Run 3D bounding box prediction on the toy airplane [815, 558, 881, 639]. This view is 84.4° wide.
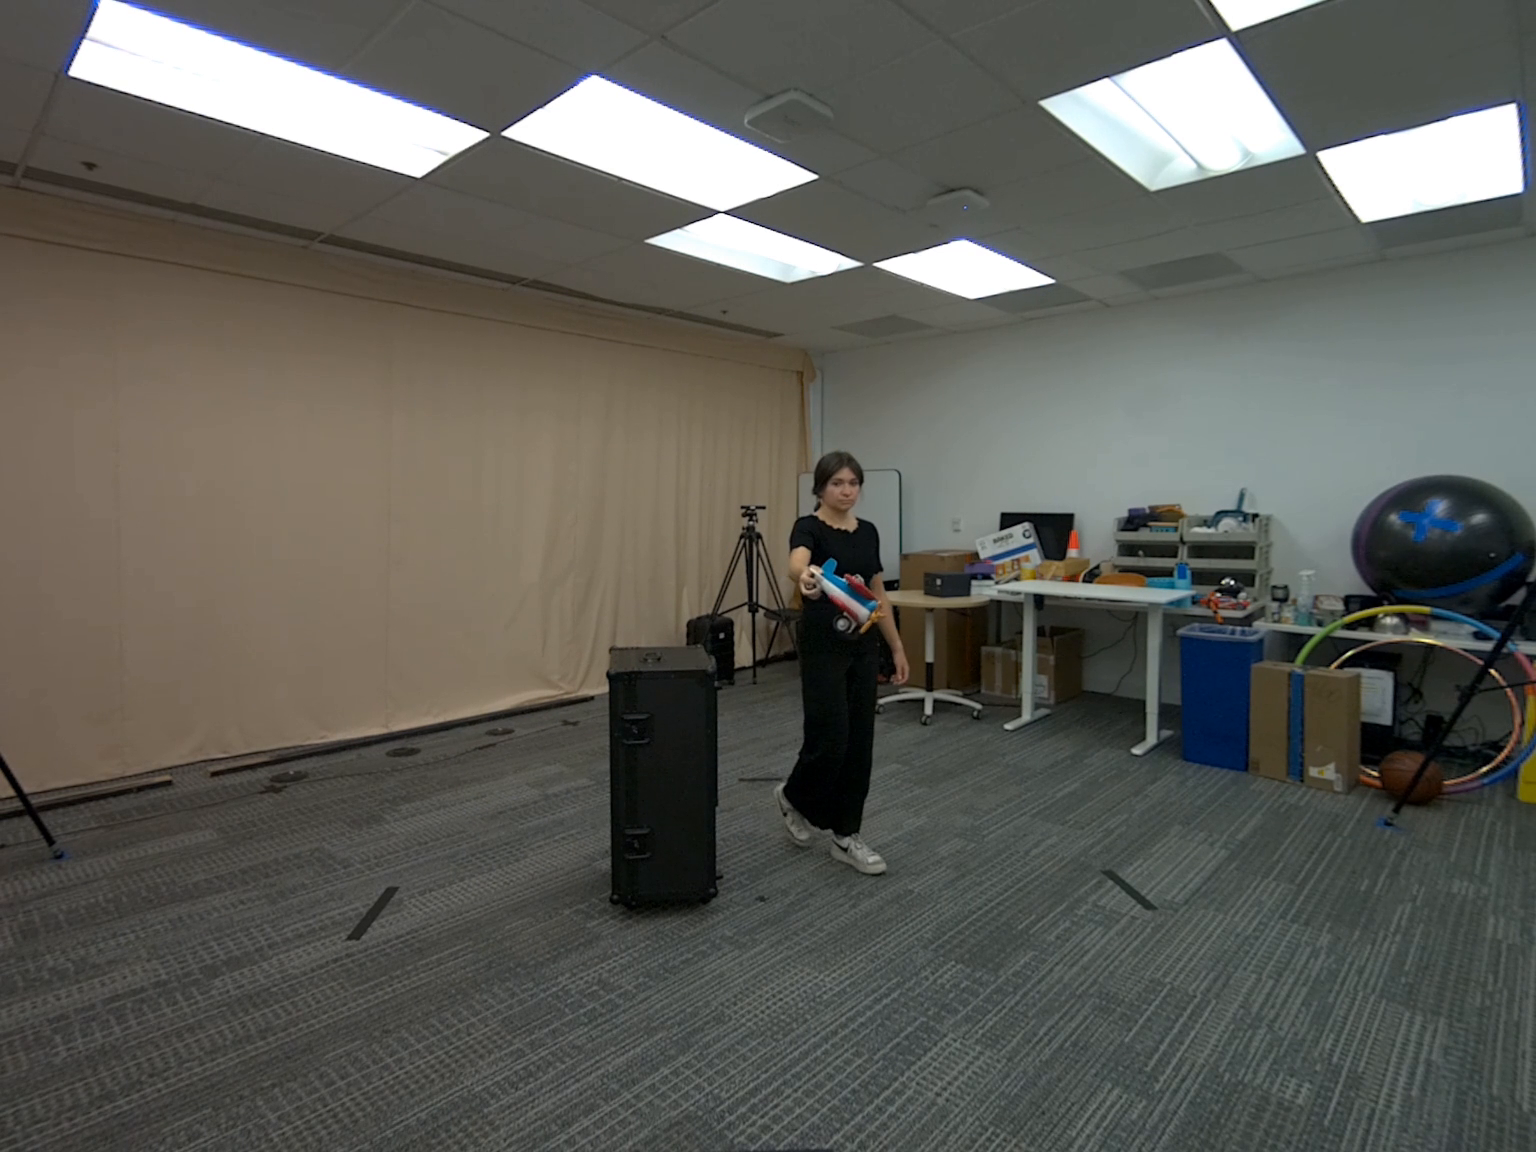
[{"bbox_3d":[0.228,0.054,2.620,0.157,0.260,0.250,-39,-1,4],"label":"toy airplane"}]
